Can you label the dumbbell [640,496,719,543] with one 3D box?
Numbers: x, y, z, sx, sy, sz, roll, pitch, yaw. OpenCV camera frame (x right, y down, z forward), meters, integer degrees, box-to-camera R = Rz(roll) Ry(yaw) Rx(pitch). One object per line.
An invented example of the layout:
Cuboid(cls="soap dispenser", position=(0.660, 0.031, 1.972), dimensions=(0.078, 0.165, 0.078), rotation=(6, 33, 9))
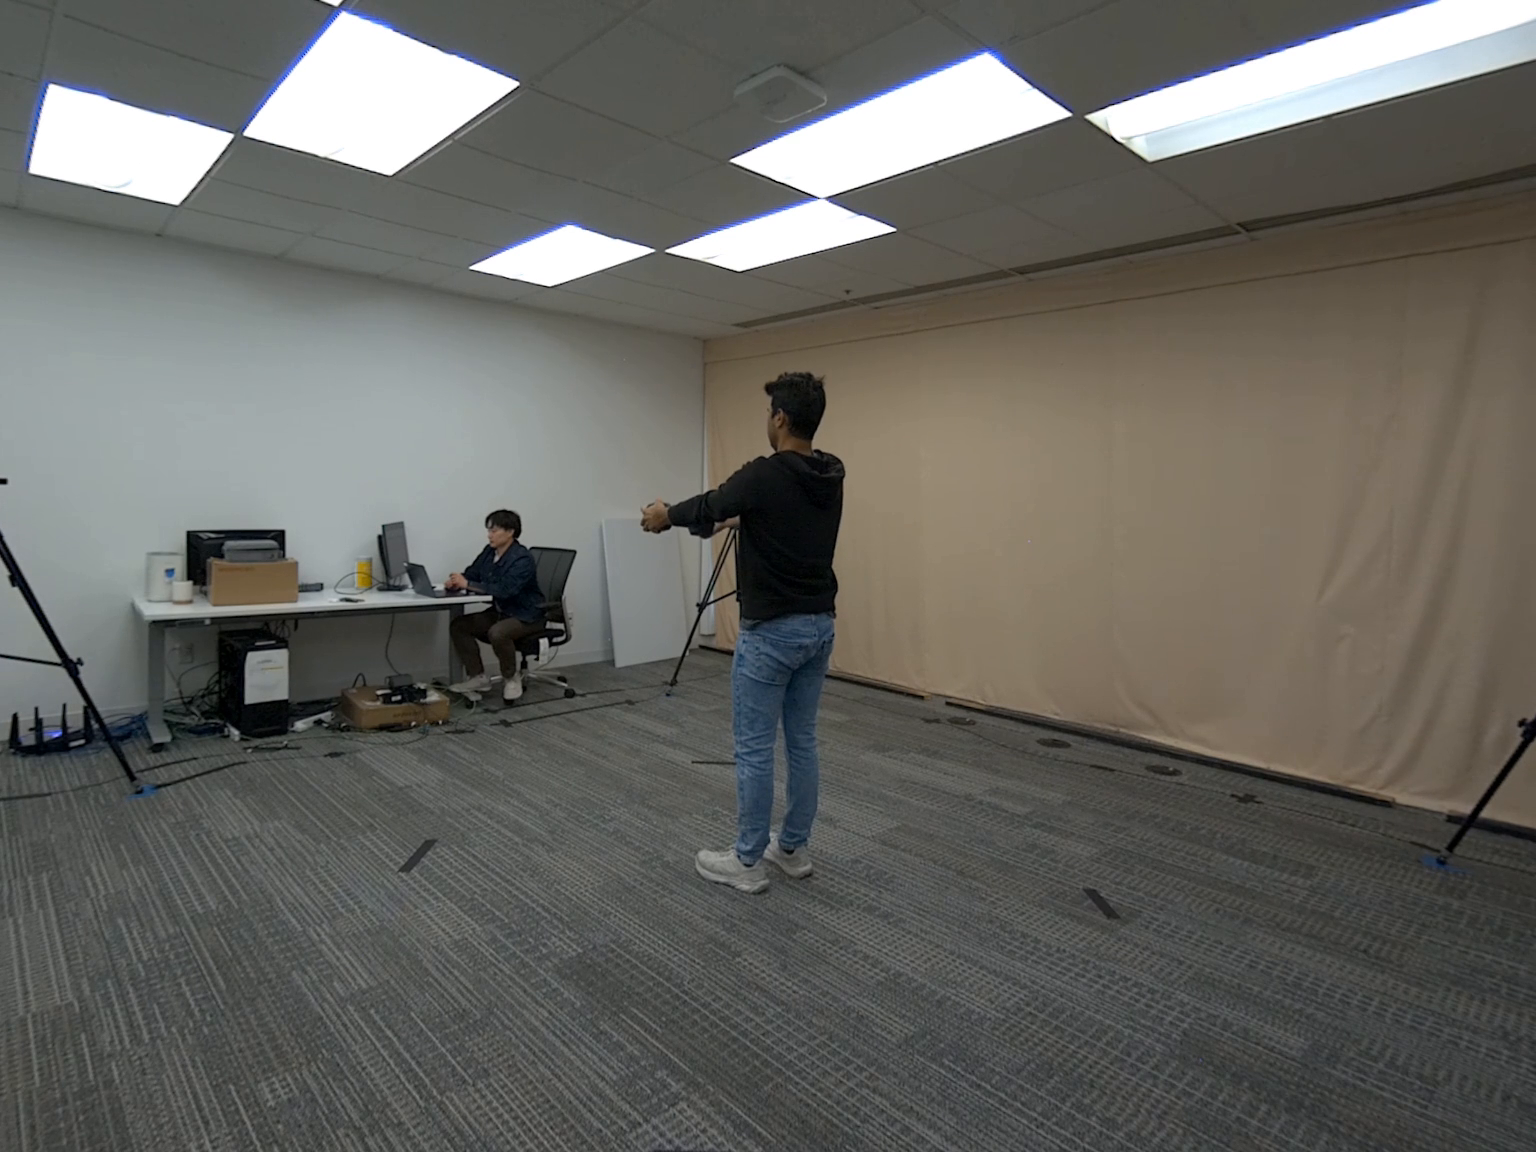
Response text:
Cuboid(cls="dumbbell", position=(-0.345, -0.226, 3.398), dimensions=(0.286, 0.126, 0.108), rotation=(3, -41, -39))
